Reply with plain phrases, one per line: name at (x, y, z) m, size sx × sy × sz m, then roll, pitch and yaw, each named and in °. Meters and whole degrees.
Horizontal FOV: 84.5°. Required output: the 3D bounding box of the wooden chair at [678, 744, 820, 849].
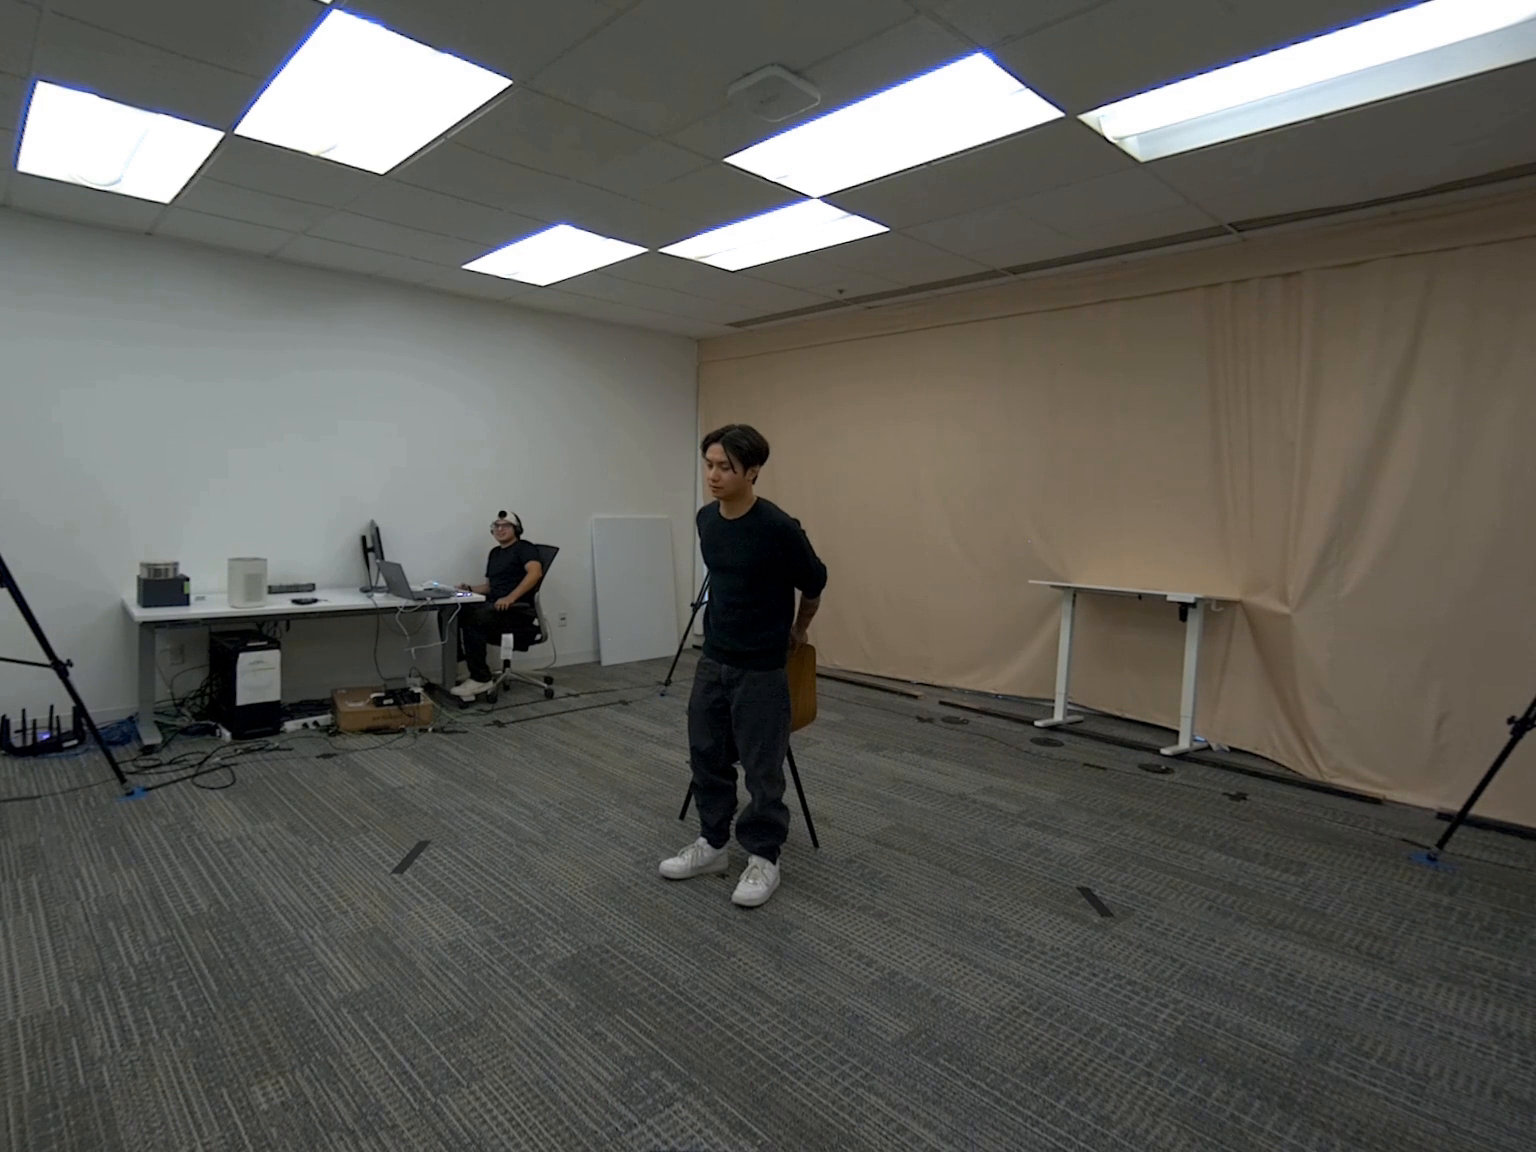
wooden chair at (-0.085, 0.651, 3.493) m, size 0.470 × 0.873 × 0.534 m, roll -1°, pitch 8°, yaw -22°
